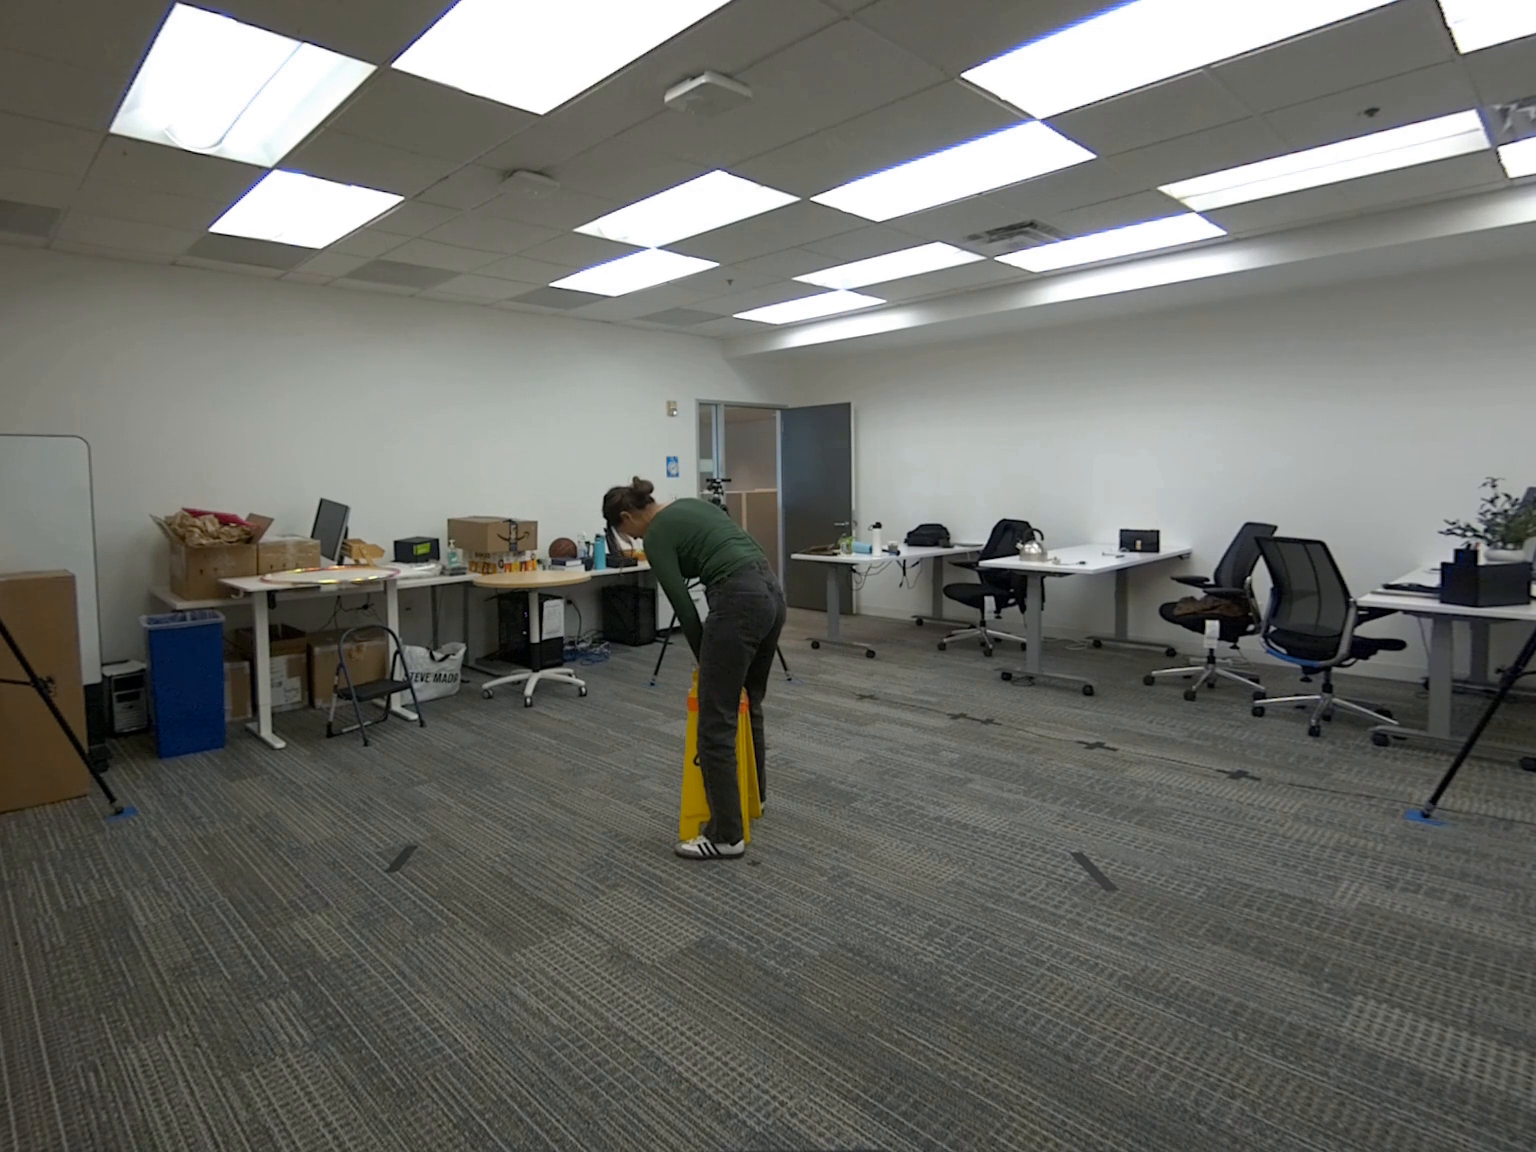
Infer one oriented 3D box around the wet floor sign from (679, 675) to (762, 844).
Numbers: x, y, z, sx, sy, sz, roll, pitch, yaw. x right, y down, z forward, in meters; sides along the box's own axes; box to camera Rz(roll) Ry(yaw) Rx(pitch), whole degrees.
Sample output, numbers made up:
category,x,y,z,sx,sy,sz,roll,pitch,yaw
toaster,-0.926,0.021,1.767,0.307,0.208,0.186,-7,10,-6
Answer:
category,x,y,z,sx,sy,sz,roll,pitch,yaw
wet floor sign,-0.197,0.692,3.406,0.285,0.643,0.288,-1,4,11
